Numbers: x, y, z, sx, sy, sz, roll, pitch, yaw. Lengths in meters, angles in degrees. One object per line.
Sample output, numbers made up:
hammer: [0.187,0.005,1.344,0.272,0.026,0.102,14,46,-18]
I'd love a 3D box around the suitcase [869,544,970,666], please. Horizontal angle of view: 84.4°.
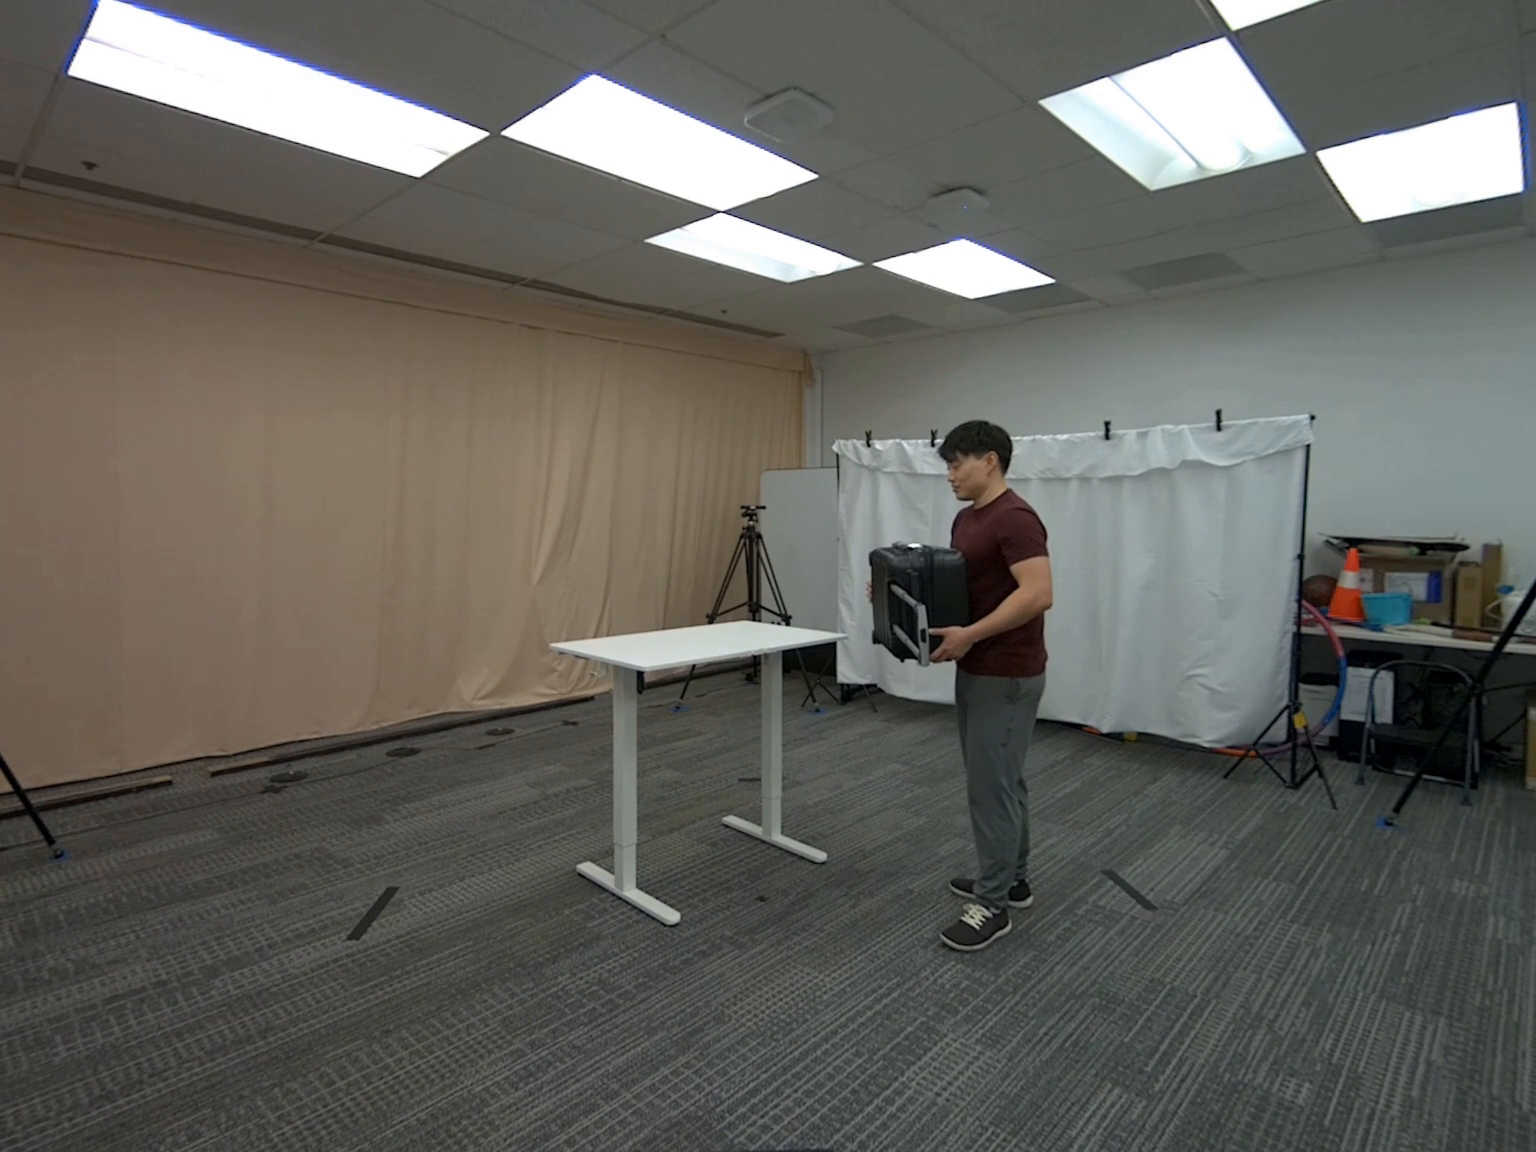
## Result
suitcase: [0.514,0.097,2.650,0.257,0.383,0.981,-2,4,-2]
